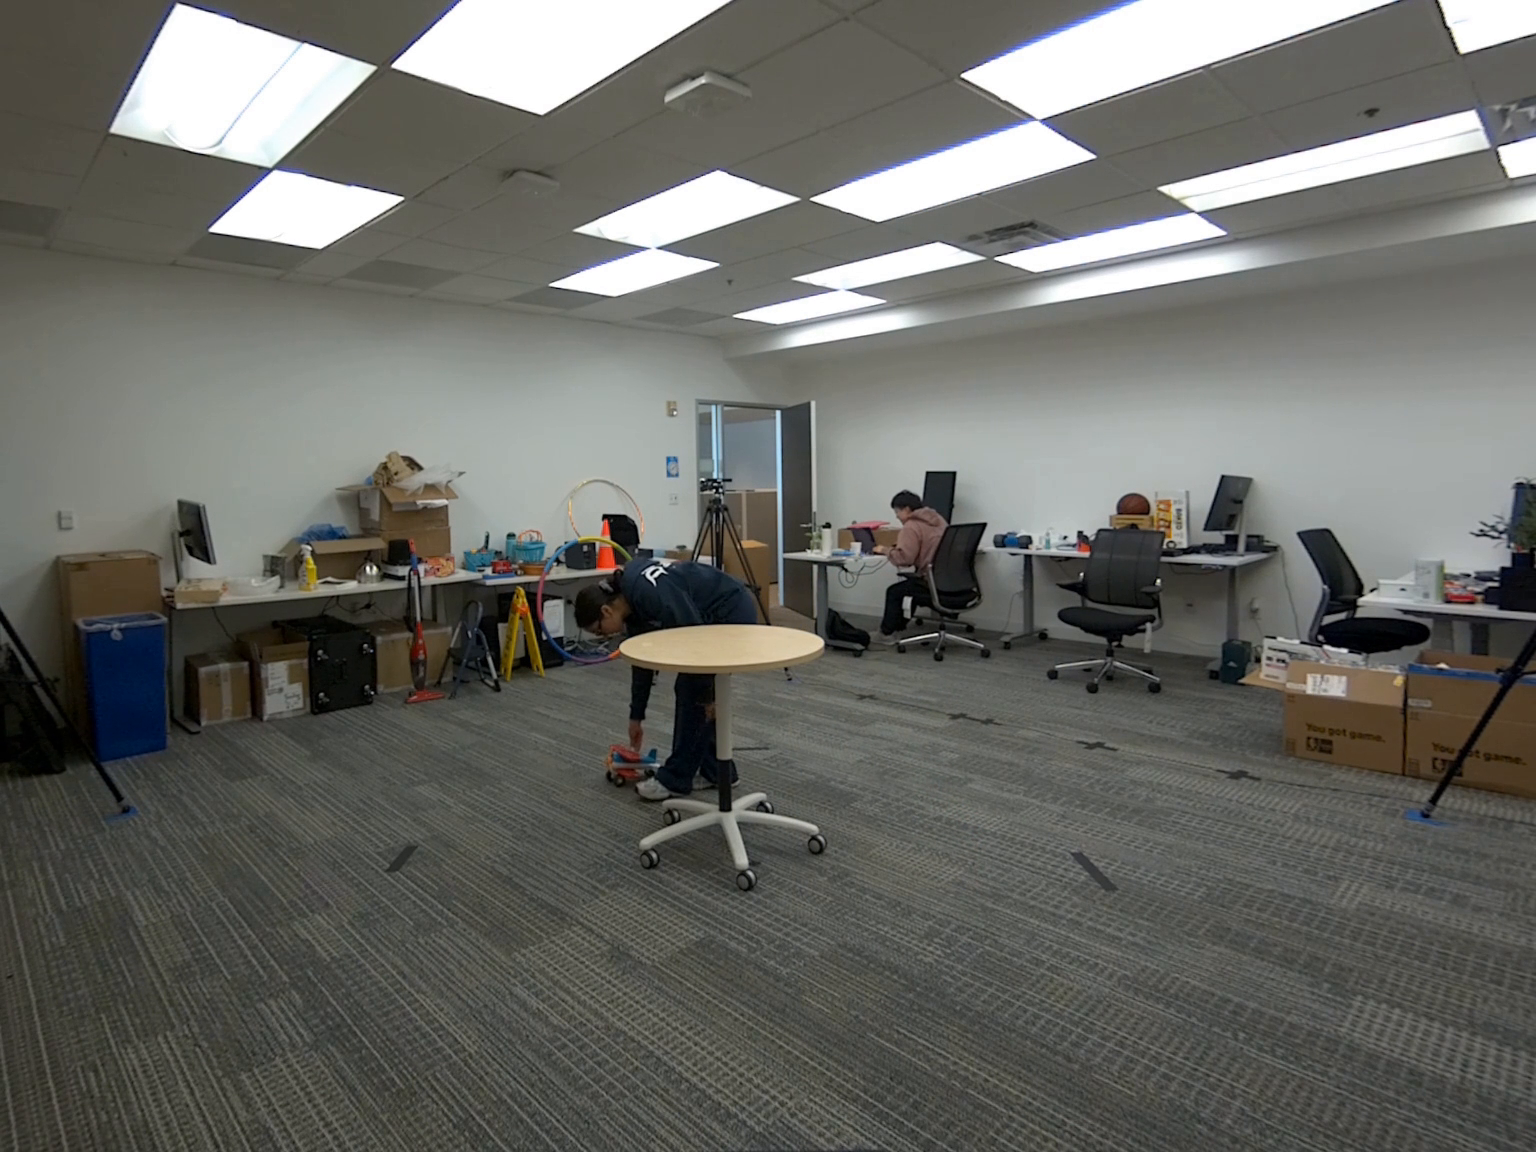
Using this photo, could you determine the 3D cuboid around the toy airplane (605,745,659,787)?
[{"bbox_3d":[-0.642,0.883,4.017,0.258,0.156,0.253,1,6,31],"label":"toy airplane"}]
